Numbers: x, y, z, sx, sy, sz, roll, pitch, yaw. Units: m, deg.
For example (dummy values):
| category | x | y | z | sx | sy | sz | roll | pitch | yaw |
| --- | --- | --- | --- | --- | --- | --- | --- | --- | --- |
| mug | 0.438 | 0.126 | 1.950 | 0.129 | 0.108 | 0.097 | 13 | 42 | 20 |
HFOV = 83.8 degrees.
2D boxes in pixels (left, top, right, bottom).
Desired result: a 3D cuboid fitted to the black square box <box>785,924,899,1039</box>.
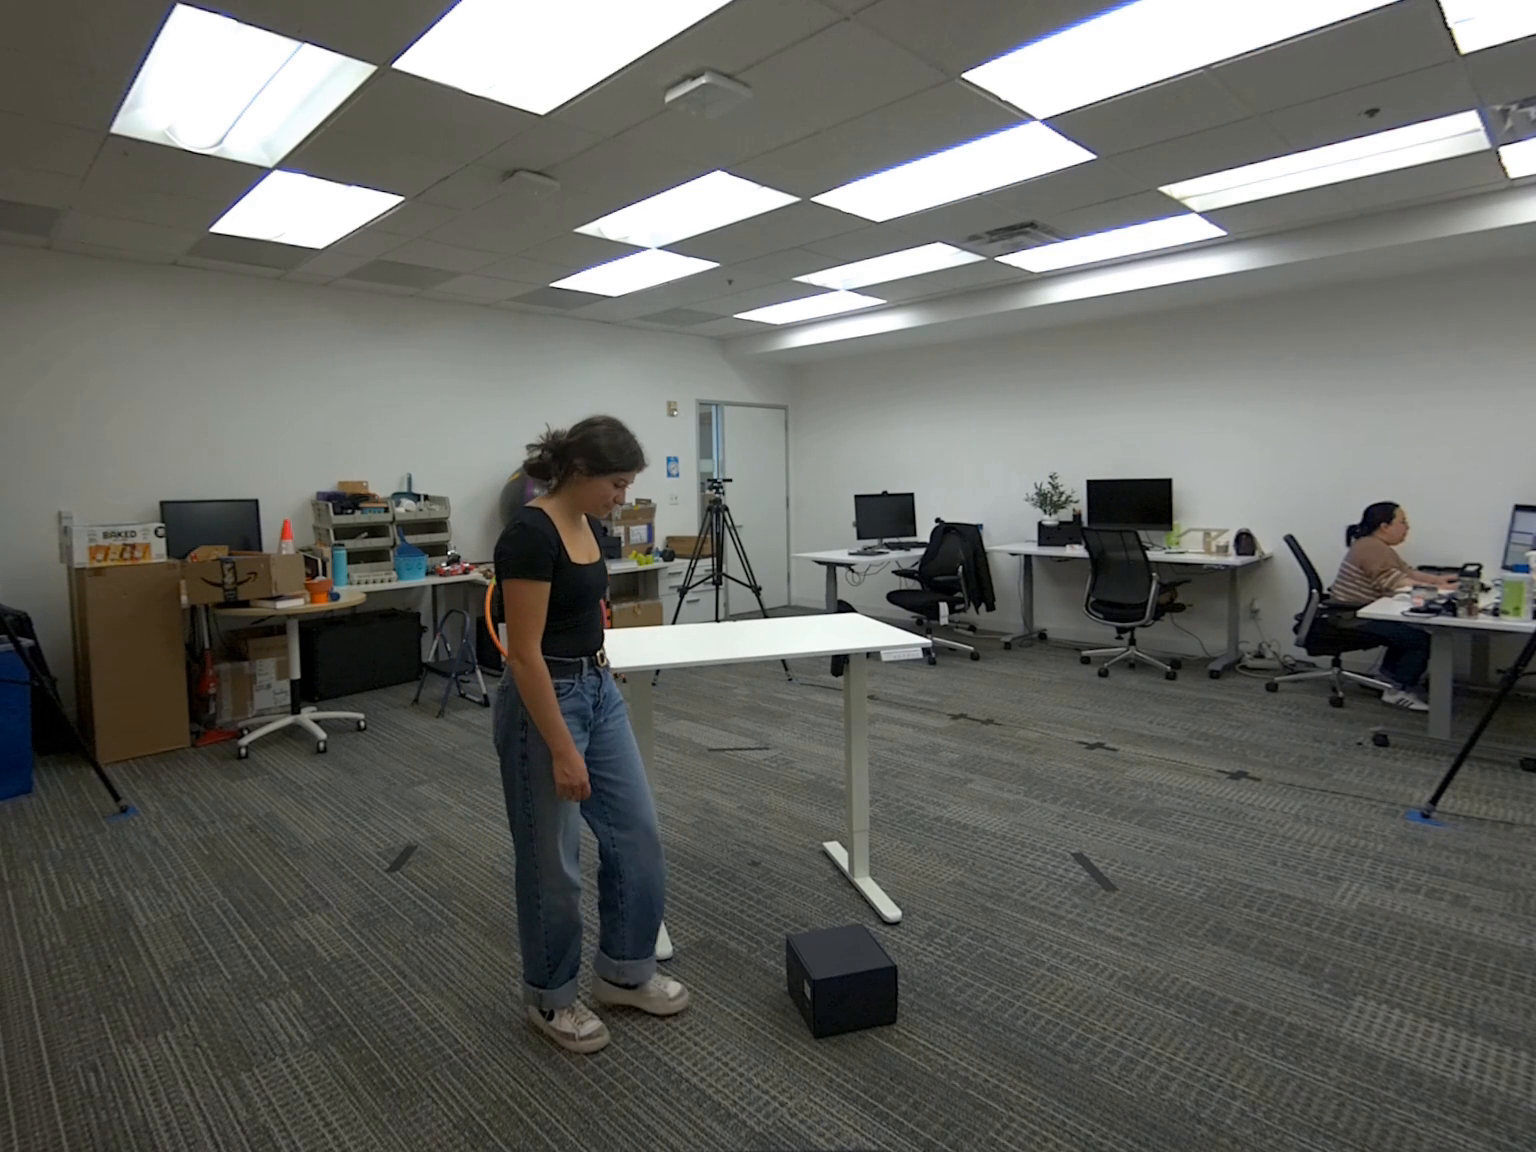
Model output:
| category | x | y | z | sx | sy | sz | roll | pitch | yaw |
| --- | --- | --- | --- | --- | --- | --- | --- | --- | --- |
| black square box | 0.195 | 1.058 | 2.253 | 0.224 | 0.155 | 0.221 | -3 | 6 | -16 |
